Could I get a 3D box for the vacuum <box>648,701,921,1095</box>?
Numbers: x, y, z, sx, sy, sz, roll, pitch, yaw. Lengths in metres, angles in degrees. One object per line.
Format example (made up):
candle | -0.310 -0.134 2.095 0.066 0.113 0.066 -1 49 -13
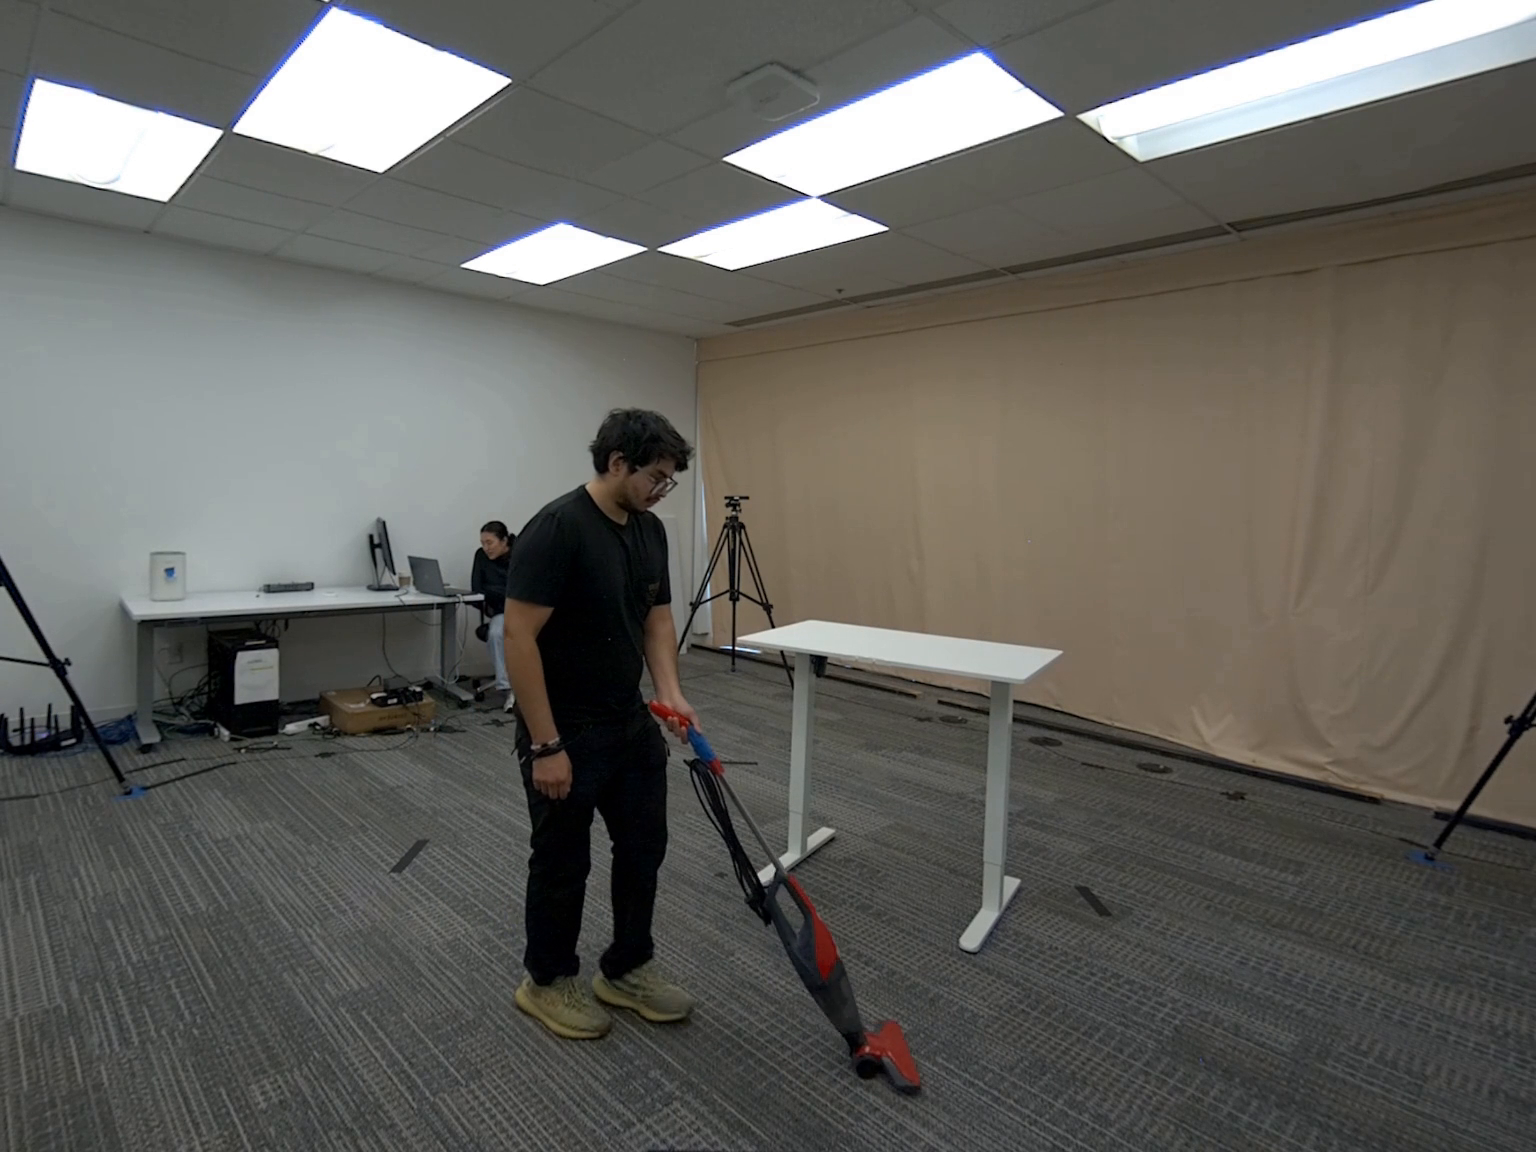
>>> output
vacuum | -0.002 0.758 2.070 0.144 1.048 0.253 -33 1 0
